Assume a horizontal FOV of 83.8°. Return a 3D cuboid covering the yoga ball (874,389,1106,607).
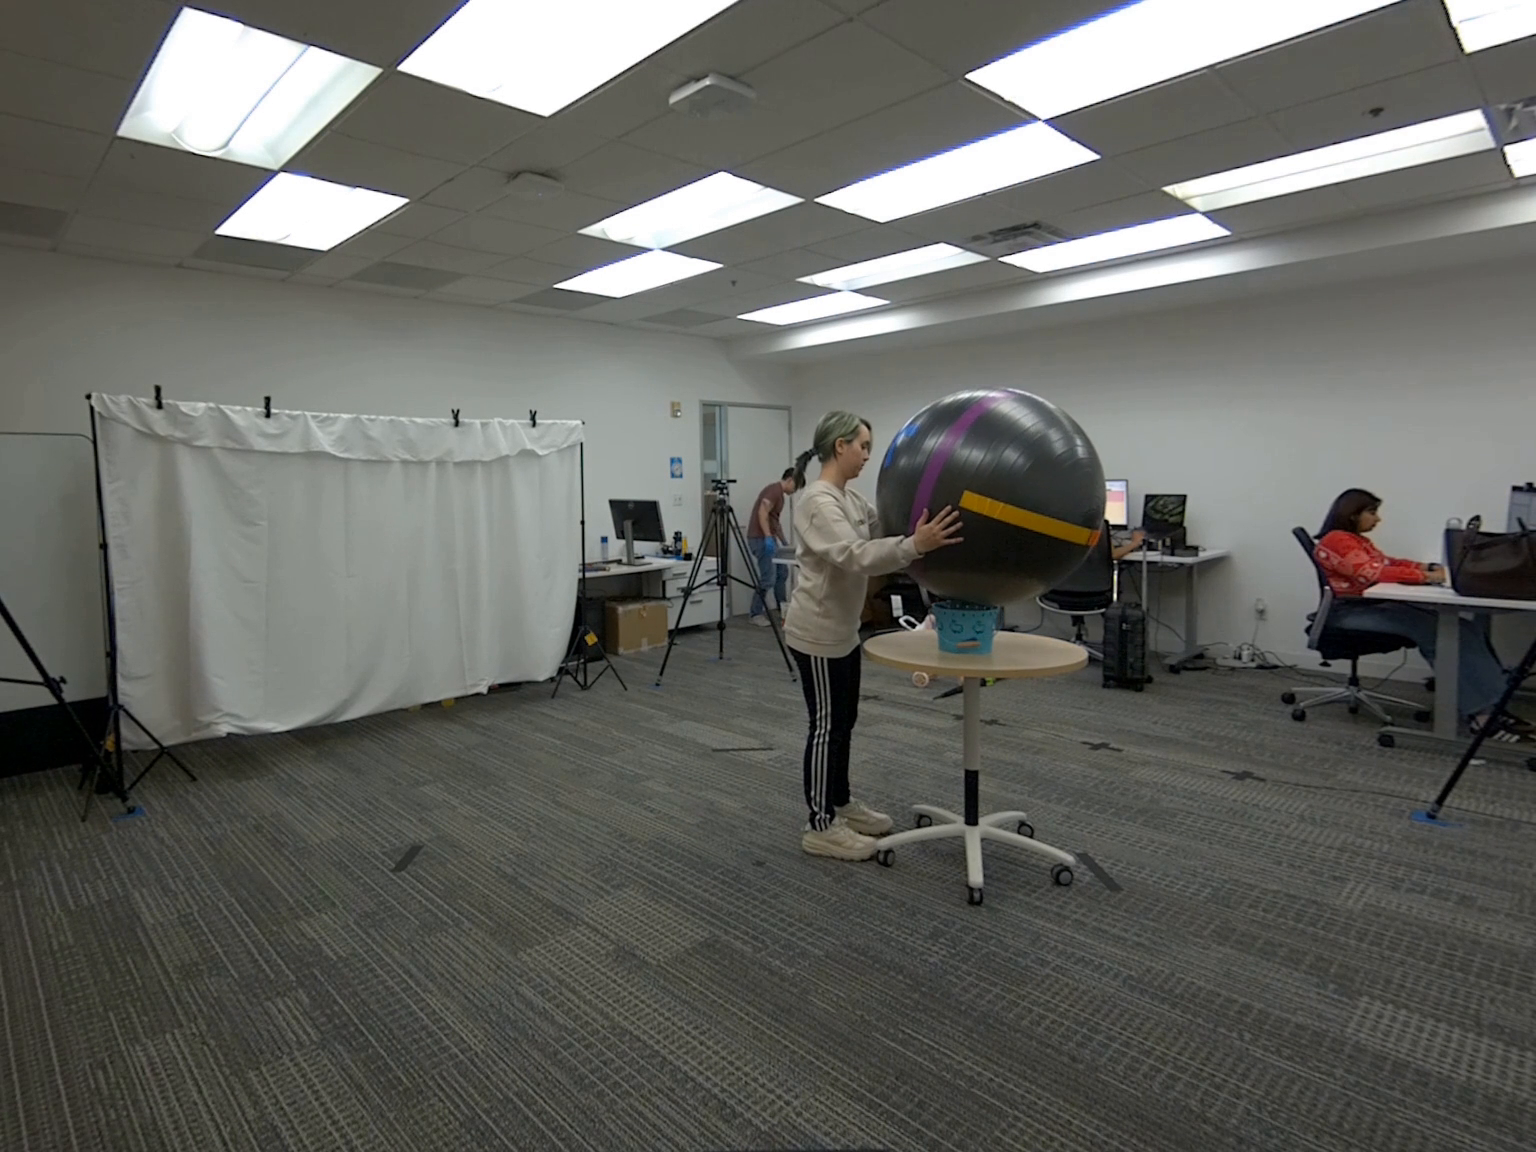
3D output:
[{"bbox_3d":[0.767,-0.264,2.957,0.757,0.755,0.762,-1,5,-2],"label":"yoga ball"}]
